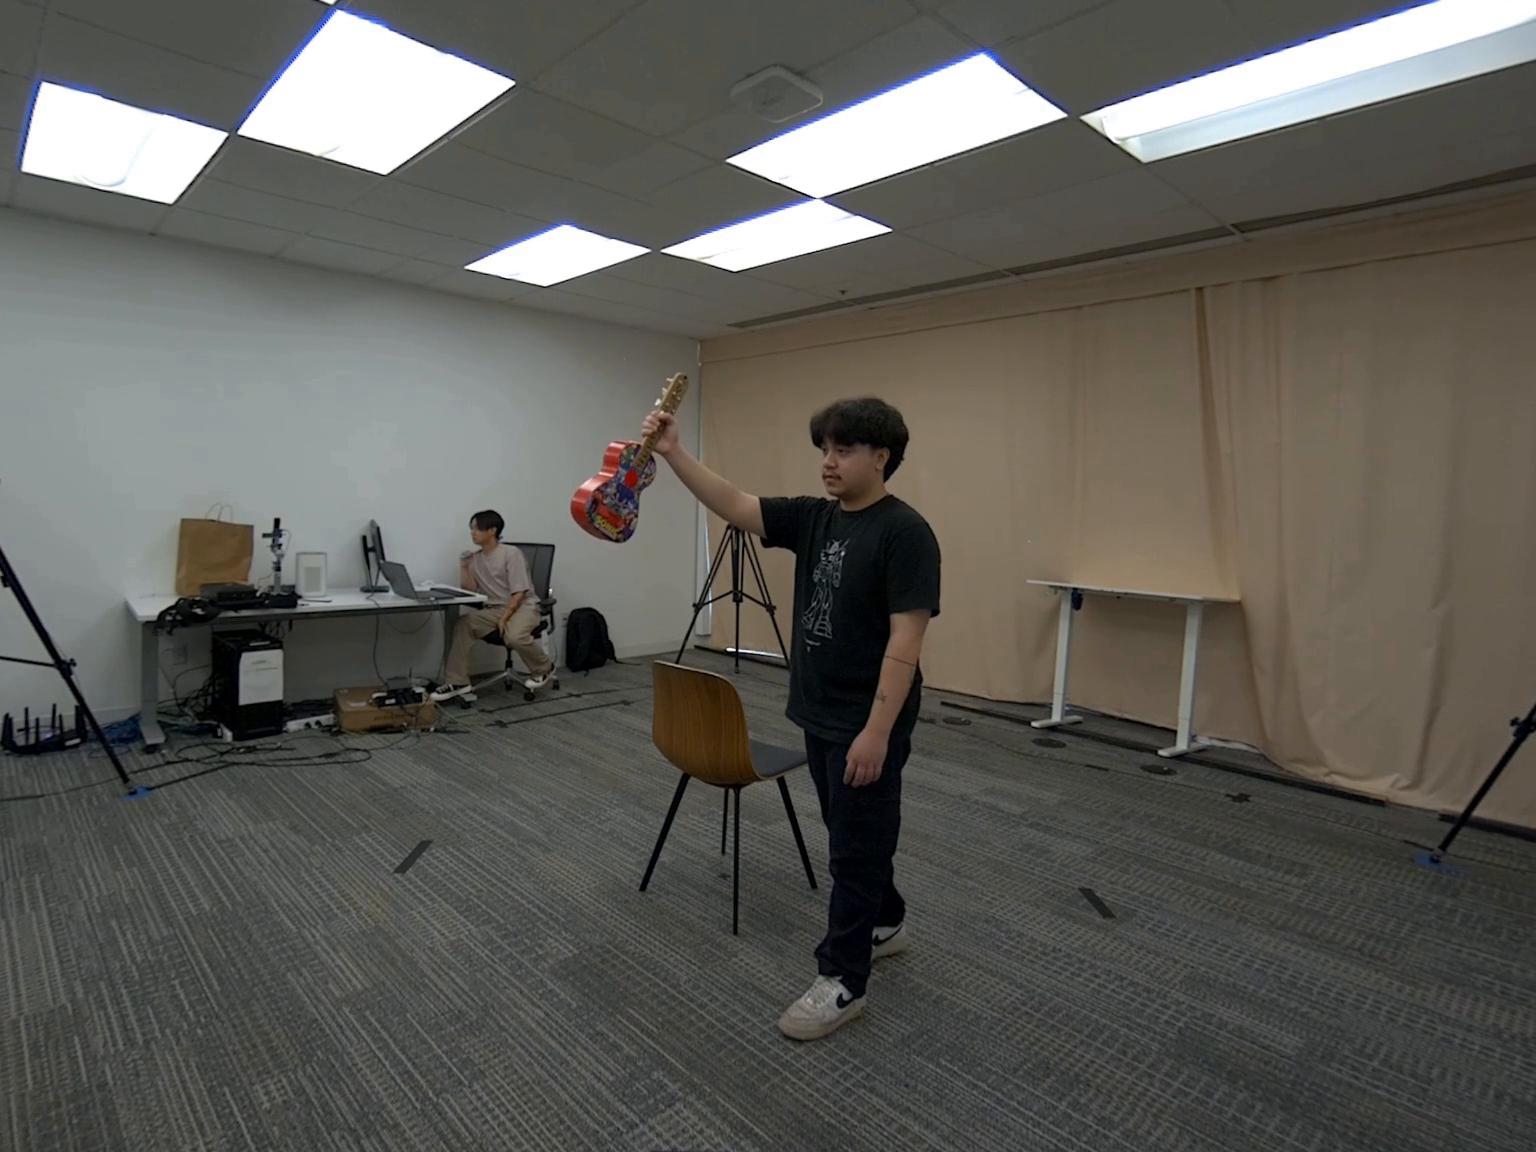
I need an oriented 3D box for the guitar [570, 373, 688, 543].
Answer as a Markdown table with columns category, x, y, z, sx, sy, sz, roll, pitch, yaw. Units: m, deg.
| category | x | y | z | sx | sy | sz | roll | pitch | yaw |
| --- | --- | --- | --- | --- | --- | --- | --- | --- | --- |
| guitar | -0.344 | -0.312 | 2.287 | 0.073 | 0.500 | 0.187 | 16 | -23 | 36 |
